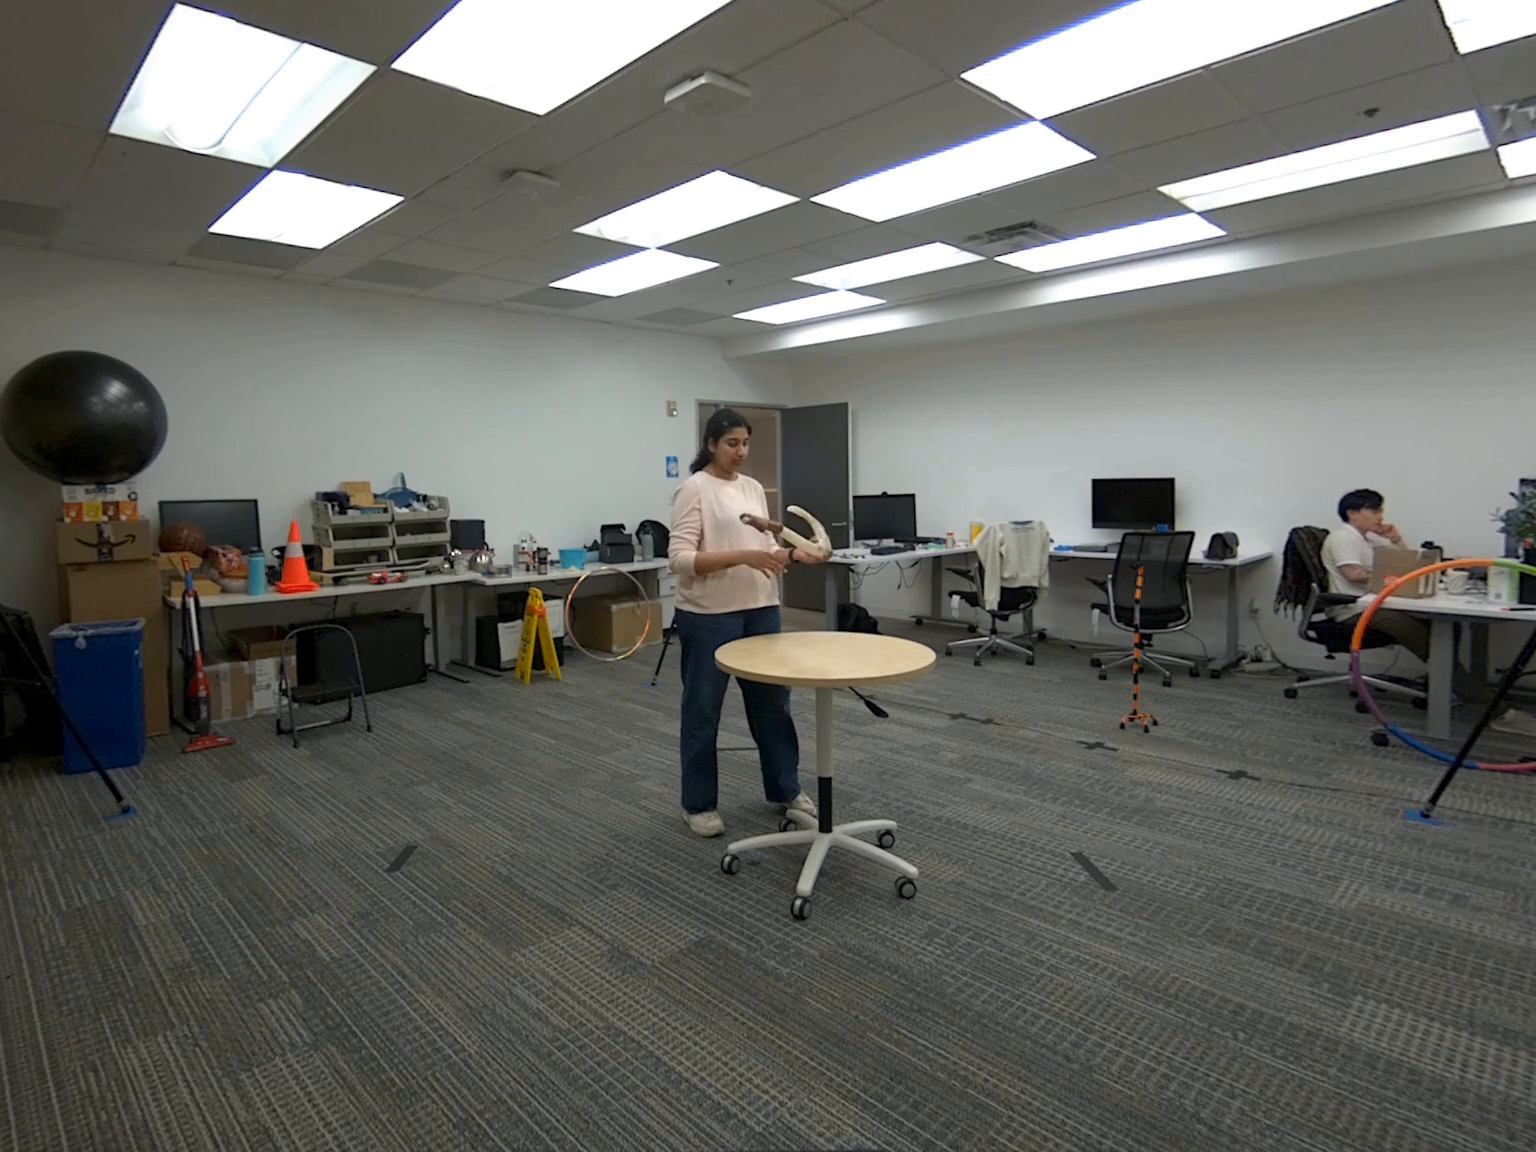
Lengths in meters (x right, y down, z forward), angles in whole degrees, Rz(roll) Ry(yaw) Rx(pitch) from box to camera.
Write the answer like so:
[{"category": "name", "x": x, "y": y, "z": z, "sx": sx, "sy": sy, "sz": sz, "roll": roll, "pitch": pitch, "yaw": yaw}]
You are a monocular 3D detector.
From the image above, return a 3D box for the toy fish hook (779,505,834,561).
[{"category": "toy fish hook", "x": 0.053, "y": -0.200, "z": 3.227, "sx": 0.489, "sy": 0.232, "sz": 0.048, "roll": 18, "pitch": -50, "yaw": -41}]
